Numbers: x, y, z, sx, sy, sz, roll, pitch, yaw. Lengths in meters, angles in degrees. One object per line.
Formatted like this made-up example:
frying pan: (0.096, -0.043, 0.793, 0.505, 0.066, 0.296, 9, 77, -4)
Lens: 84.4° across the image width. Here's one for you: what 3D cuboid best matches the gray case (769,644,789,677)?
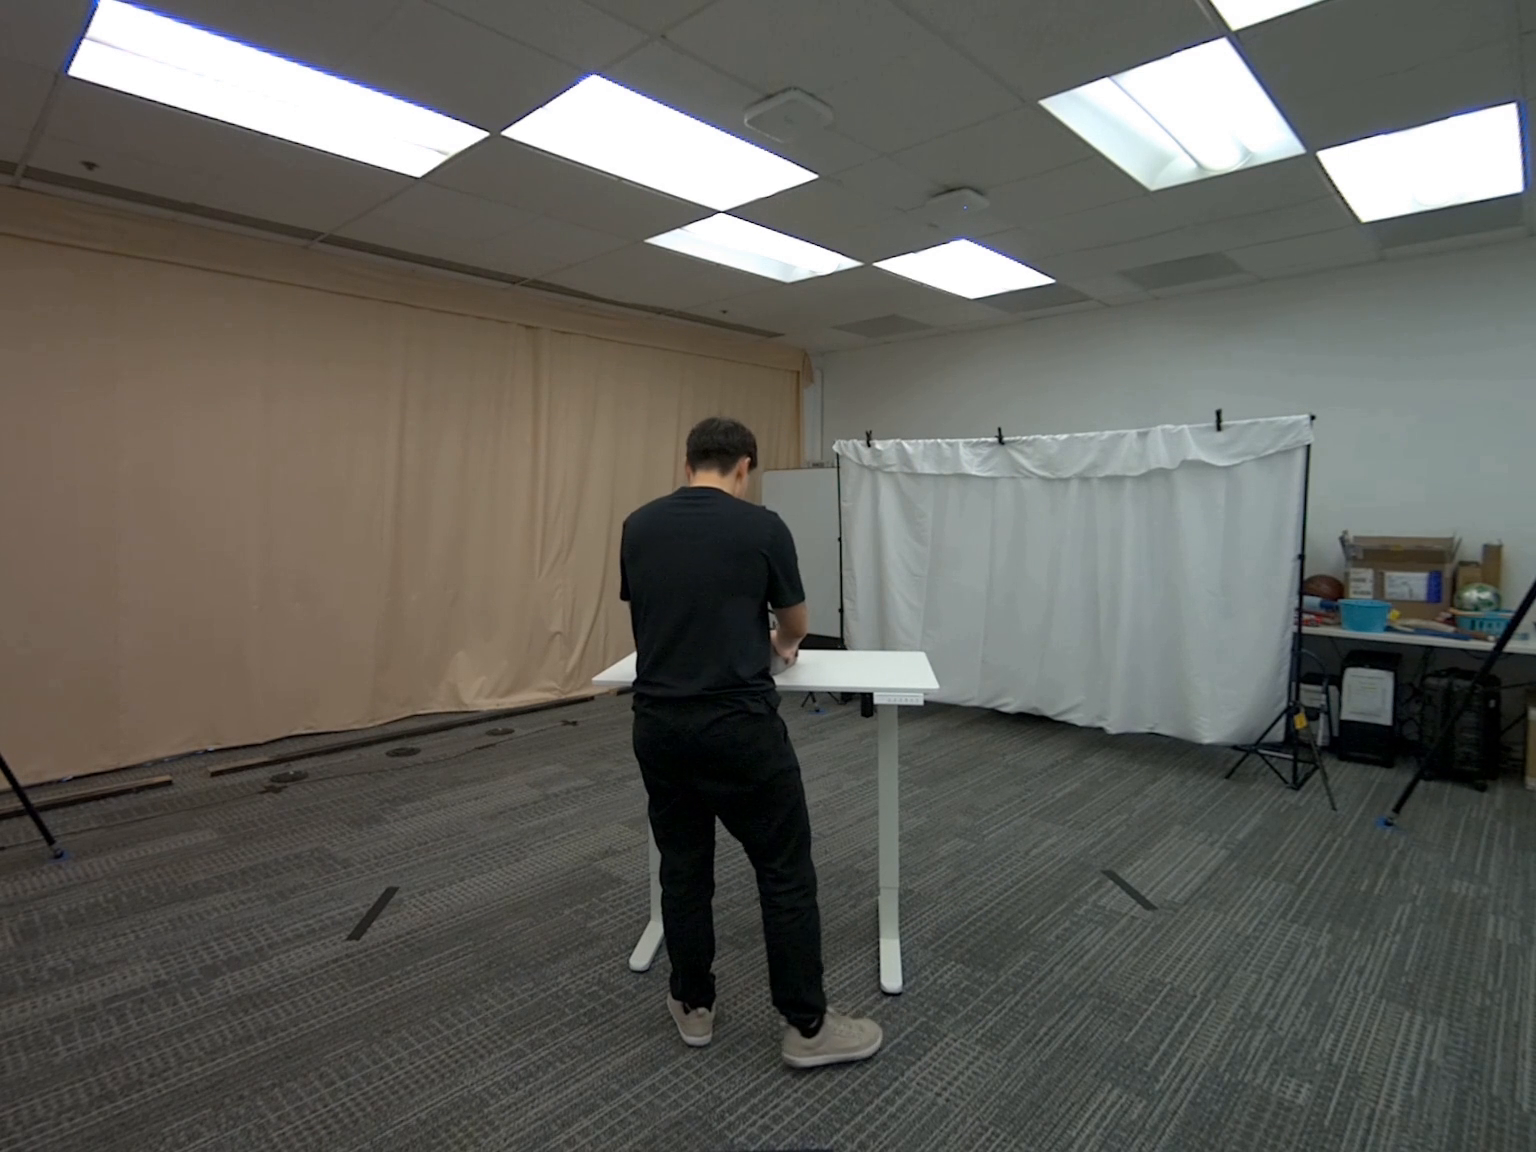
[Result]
gray case: (-0.038, 0.238, 2.662, 0.263, 0.104, 0.255, 0, 5, 21)
